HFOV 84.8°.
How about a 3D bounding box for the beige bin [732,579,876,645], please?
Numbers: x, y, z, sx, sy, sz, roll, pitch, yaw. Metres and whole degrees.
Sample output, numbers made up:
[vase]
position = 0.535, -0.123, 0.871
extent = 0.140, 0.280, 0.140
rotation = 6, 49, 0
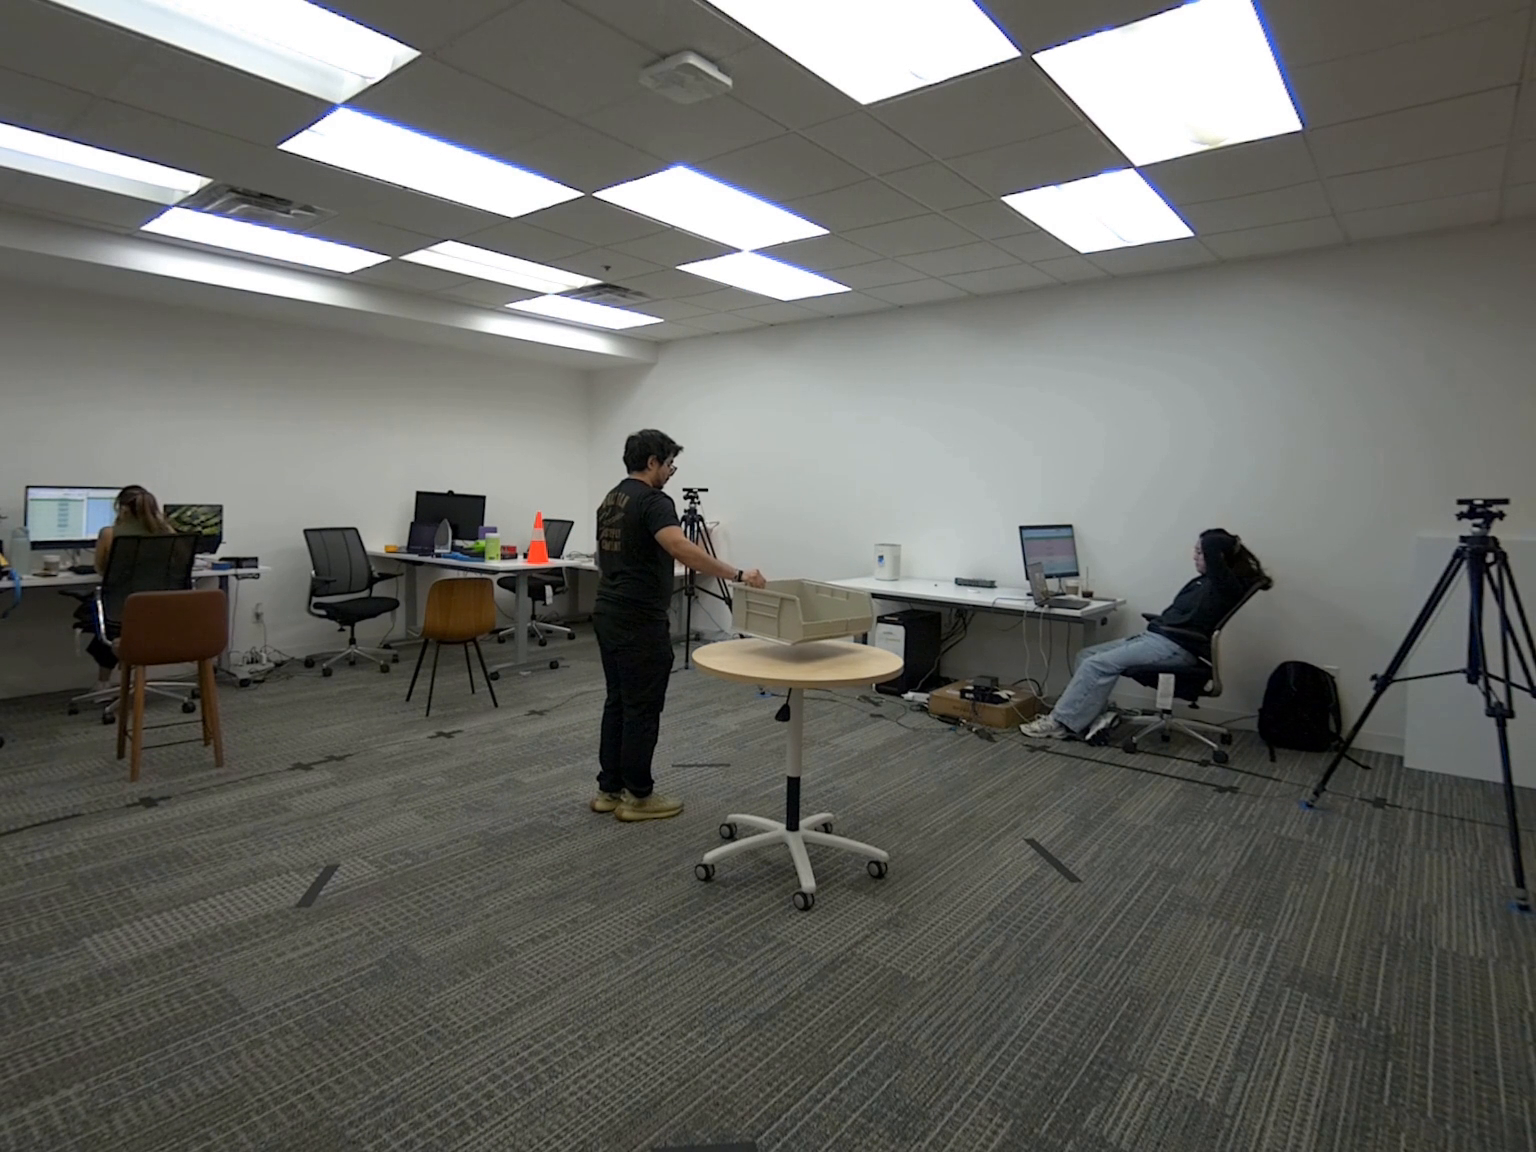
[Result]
[beige bin]
position = 0.120, 0.131, 3.205
extent = 0.409, 0.188, 0.391
rotation = -4, 9, -45
